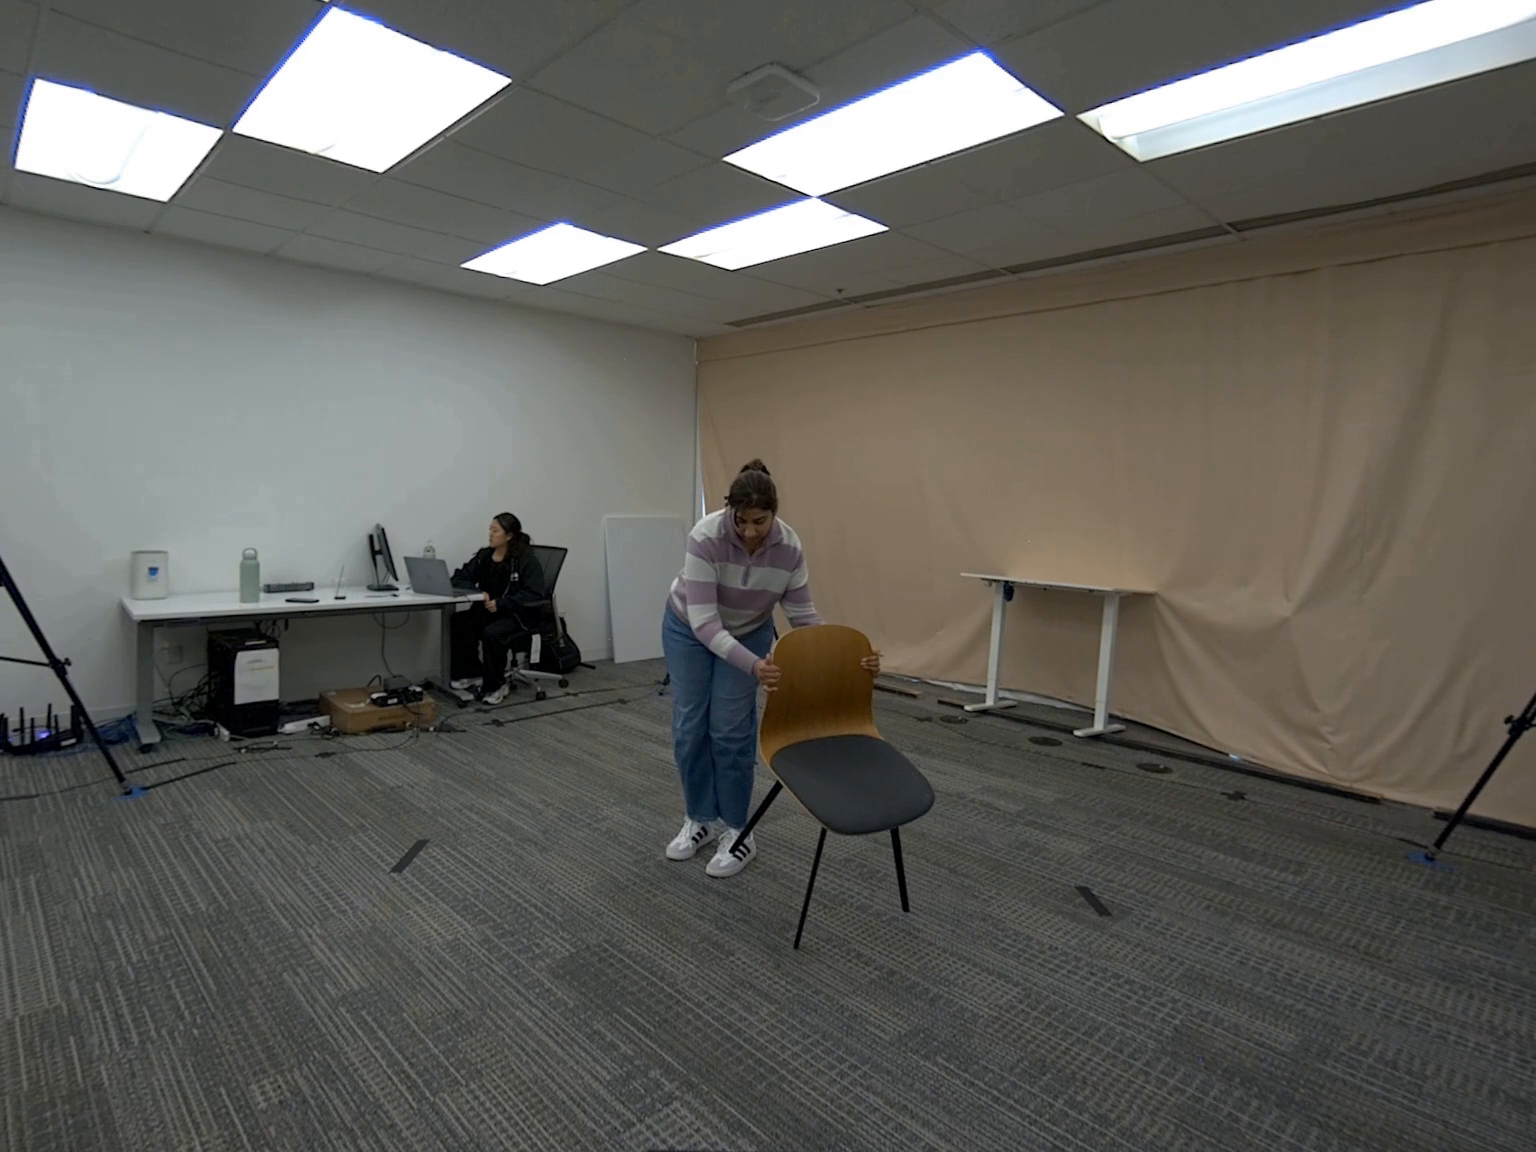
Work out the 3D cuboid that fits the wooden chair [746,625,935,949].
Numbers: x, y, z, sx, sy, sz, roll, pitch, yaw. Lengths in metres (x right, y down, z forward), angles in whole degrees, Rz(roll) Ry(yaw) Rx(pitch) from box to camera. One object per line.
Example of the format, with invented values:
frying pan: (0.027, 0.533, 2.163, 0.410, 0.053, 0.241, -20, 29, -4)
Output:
wooden chair: (0.223, 0.659, 2.726, 0.469, 0.868, 0.539, -3, 20, -29)
